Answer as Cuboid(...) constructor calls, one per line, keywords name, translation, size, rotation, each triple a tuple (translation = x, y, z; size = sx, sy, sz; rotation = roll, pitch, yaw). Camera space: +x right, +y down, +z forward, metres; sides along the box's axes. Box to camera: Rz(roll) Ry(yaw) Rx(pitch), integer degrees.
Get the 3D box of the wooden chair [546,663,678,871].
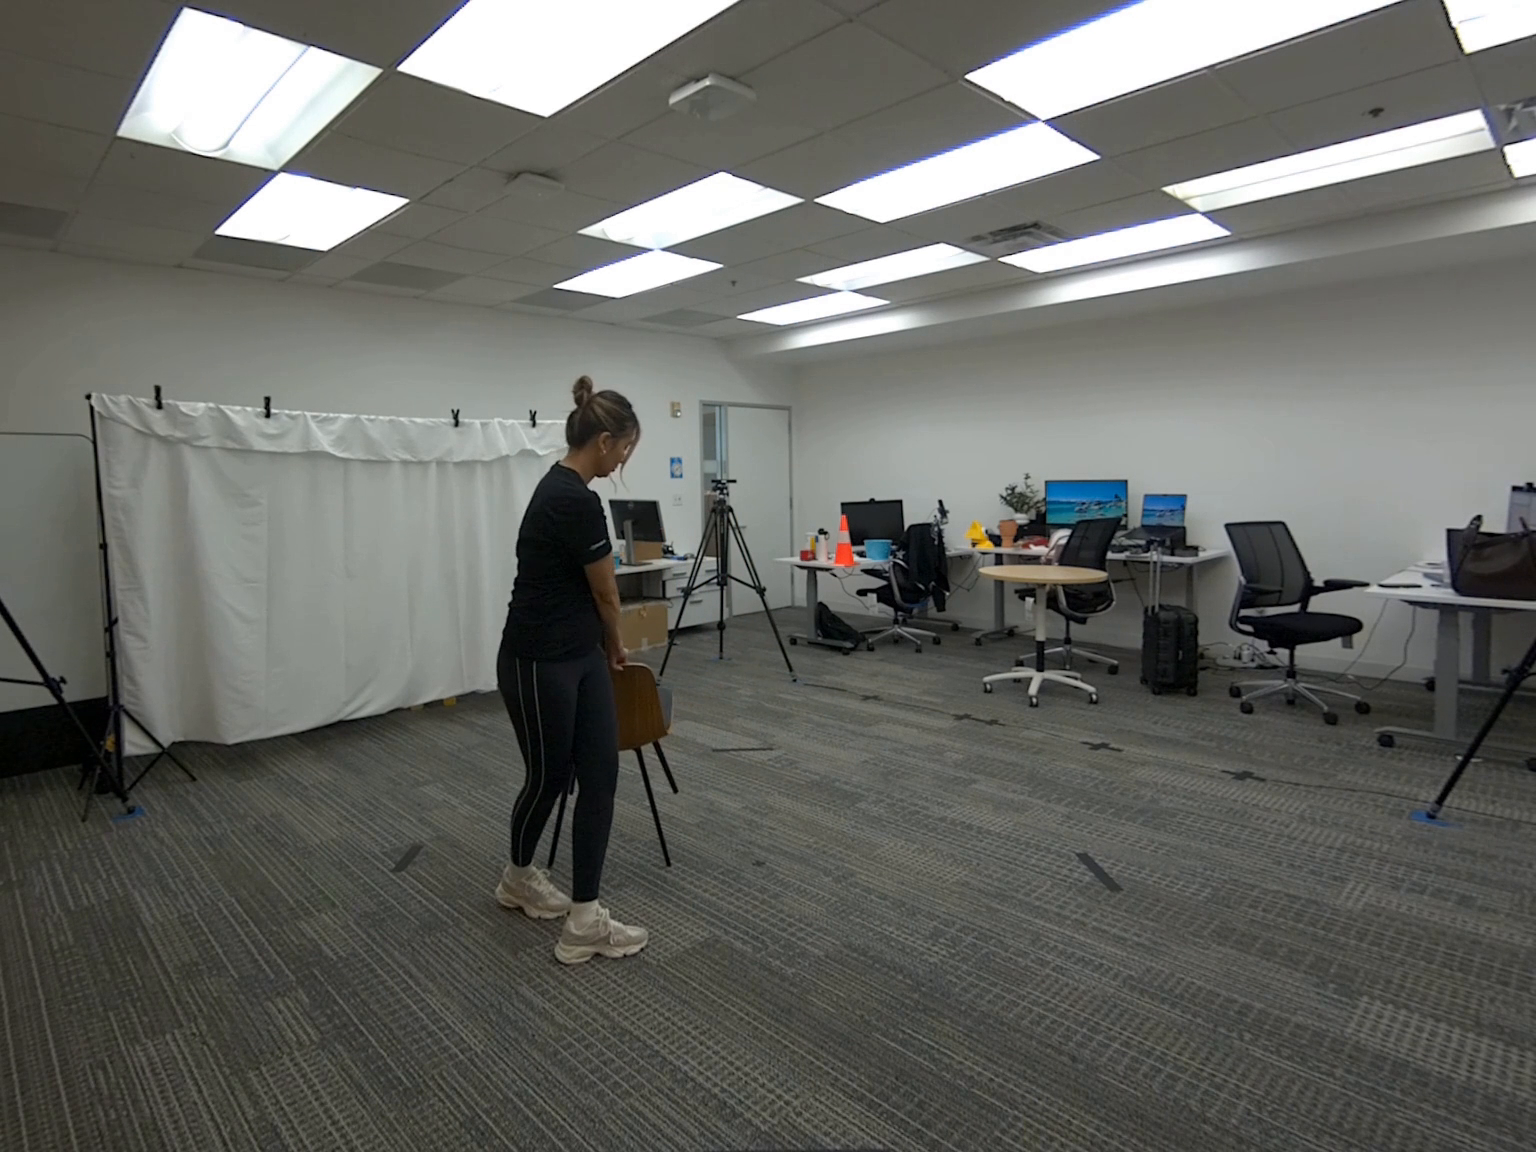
Cuboid(name="wooden chair", translation=(-0.585, 0.579, 3.189), size=(0.478, 0.860, 0.534), rotation=(-1, 23, -1))
